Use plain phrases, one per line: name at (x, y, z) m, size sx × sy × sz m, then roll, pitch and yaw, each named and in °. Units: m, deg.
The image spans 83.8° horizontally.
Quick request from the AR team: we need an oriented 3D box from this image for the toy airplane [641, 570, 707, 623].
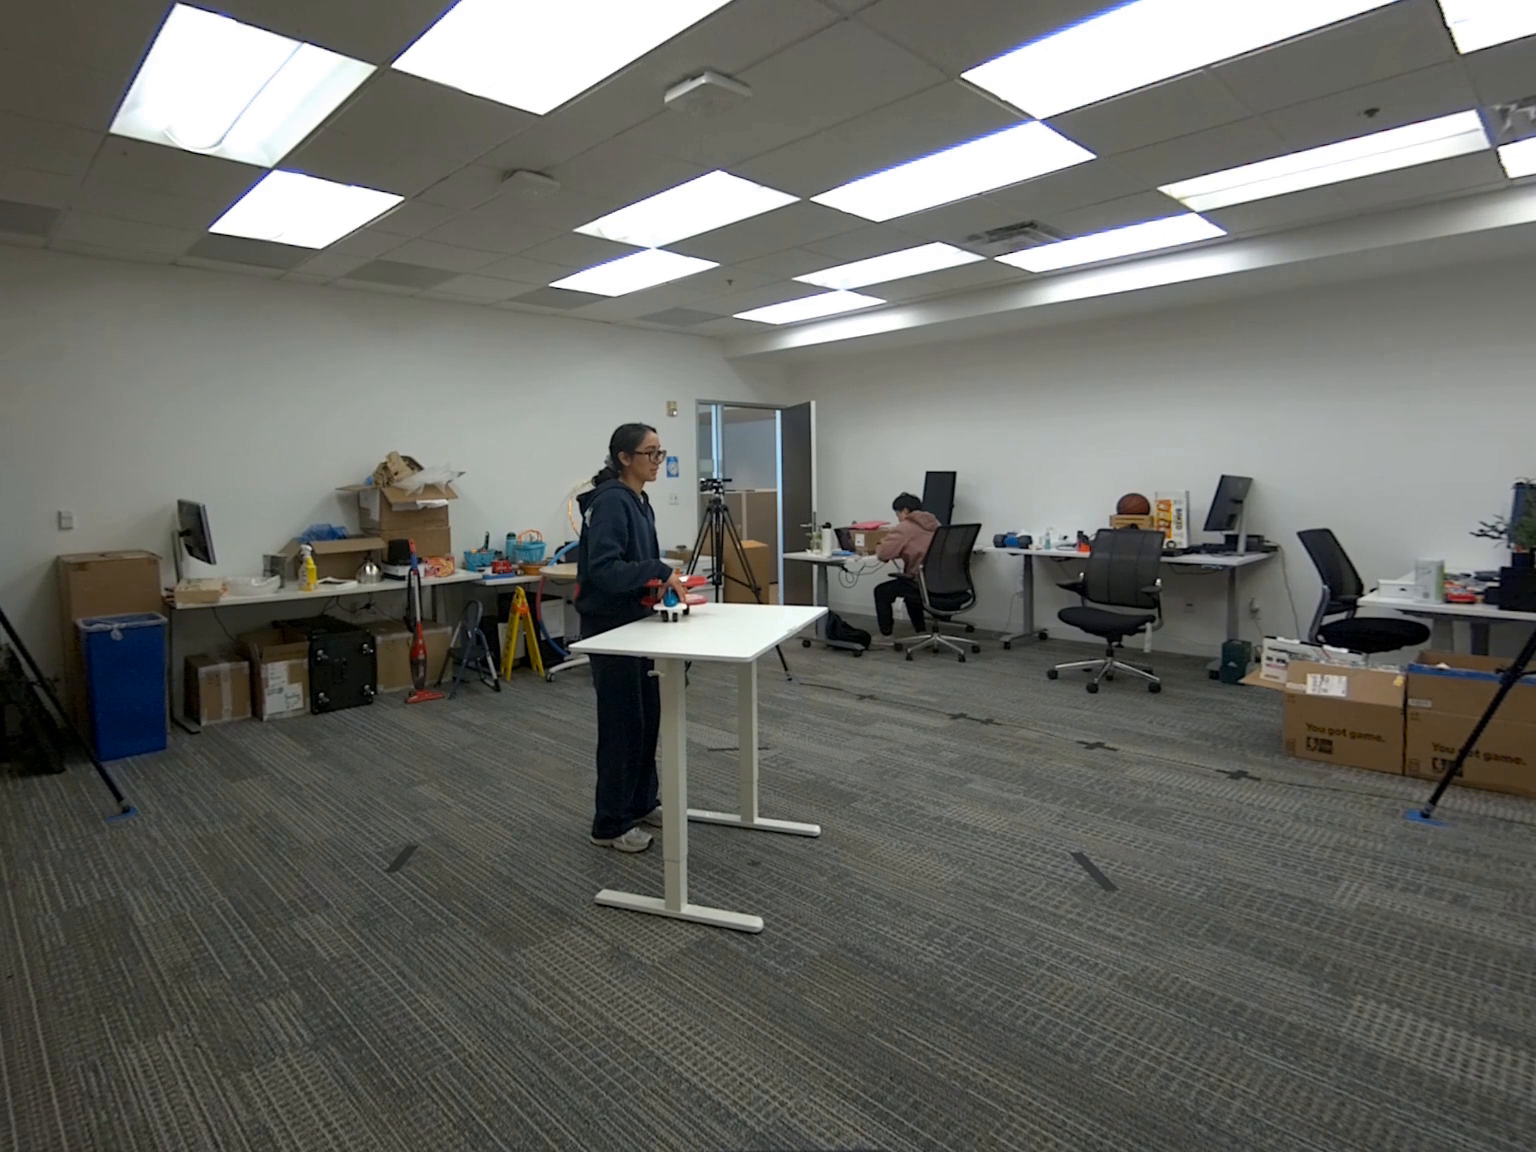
toy airplane at (-0.334, 0.083, 3.196) m, size 0.245 × 0.156 × 0.266 m, roll -3°, pitch 6°, yaw -27°
